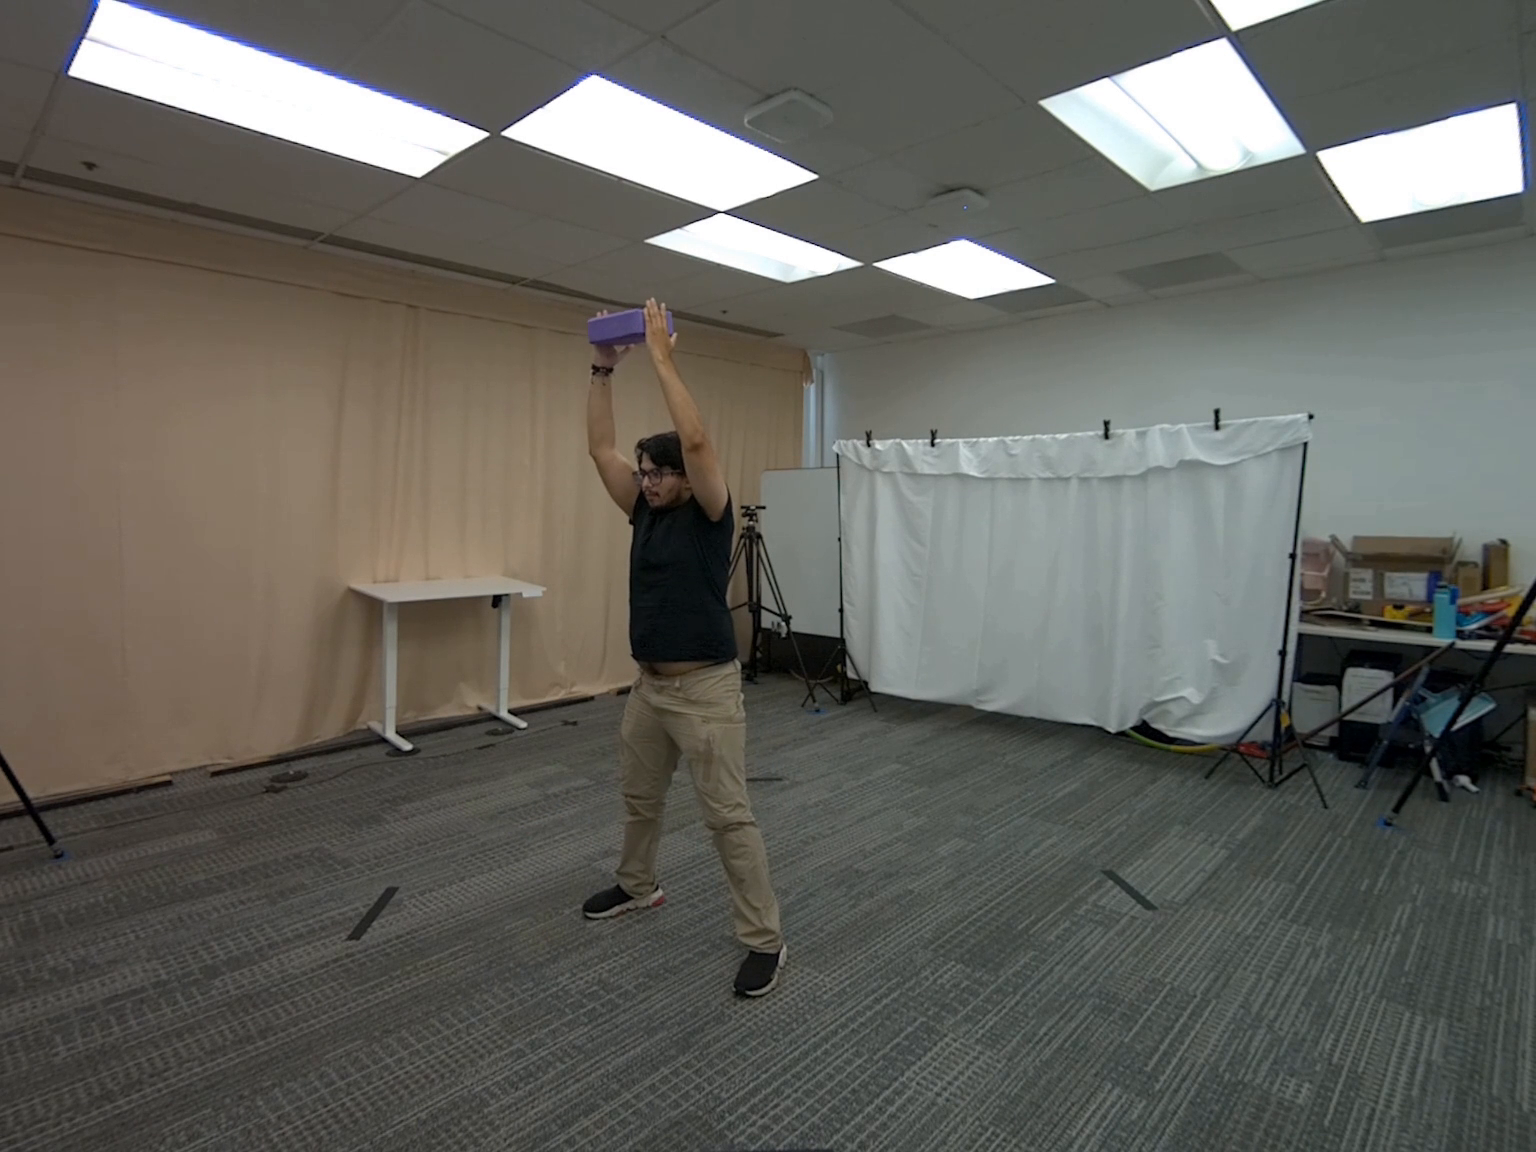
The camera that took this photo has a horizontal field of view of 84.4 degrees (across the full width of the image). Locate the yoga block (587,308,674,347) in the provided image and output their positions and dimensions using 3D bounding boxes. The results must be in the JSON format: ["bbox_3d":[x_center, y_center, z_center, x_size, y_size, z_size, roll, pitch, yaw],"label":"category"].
[{"bbox_3d":[-0.408,-0.739,2.501,0.237,0.076,0.145,6,14,43],"label":"yoga block"}]
